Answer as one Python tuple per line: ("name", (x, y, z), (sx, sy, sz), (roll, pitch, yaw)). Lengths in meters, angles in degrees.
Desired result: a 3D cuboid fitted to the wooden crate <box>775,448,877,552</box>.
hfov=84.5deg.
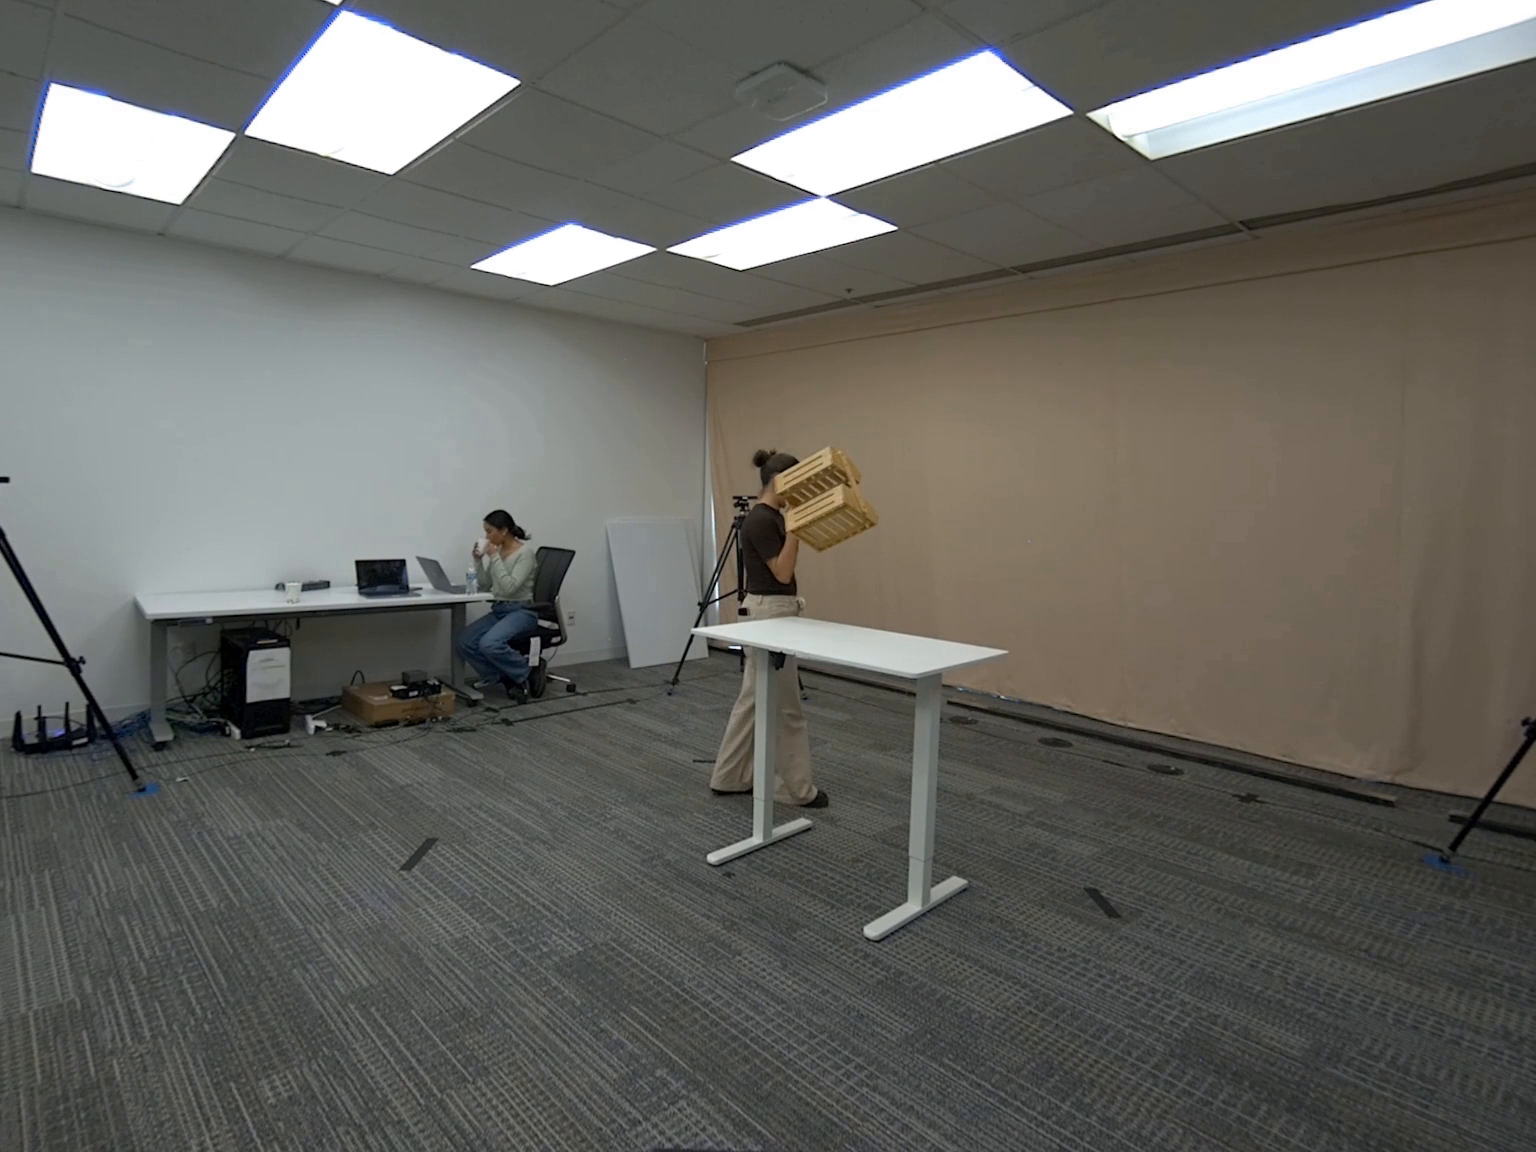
("wooden crate", (0.241, -0.317, 3.542), (0.328, 0.279, 0.293), (-26, -38, 33))
